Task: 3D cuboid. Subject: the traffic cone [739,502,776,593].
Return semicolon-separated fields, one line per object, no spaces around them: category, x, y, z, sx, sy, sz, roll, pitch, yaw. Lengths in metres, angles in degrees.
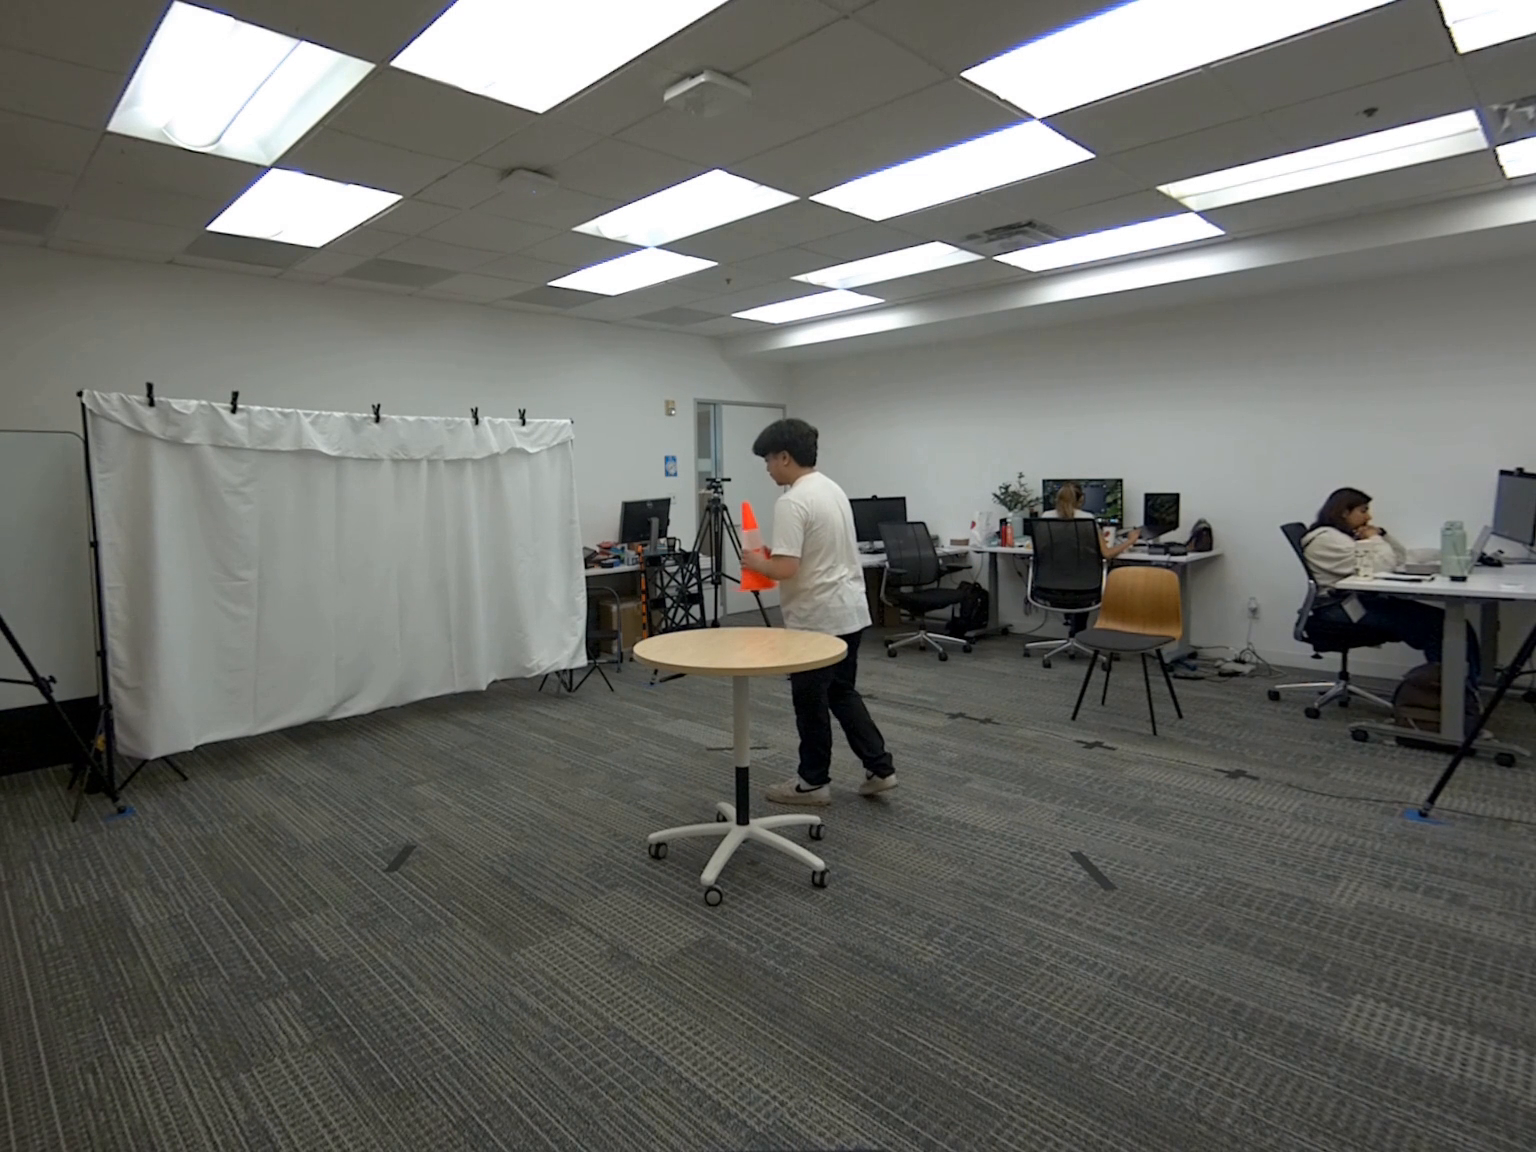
traffic cone;-0.059;-0.140;3.806;0.209;0.384;0.199;-7;-1;29
